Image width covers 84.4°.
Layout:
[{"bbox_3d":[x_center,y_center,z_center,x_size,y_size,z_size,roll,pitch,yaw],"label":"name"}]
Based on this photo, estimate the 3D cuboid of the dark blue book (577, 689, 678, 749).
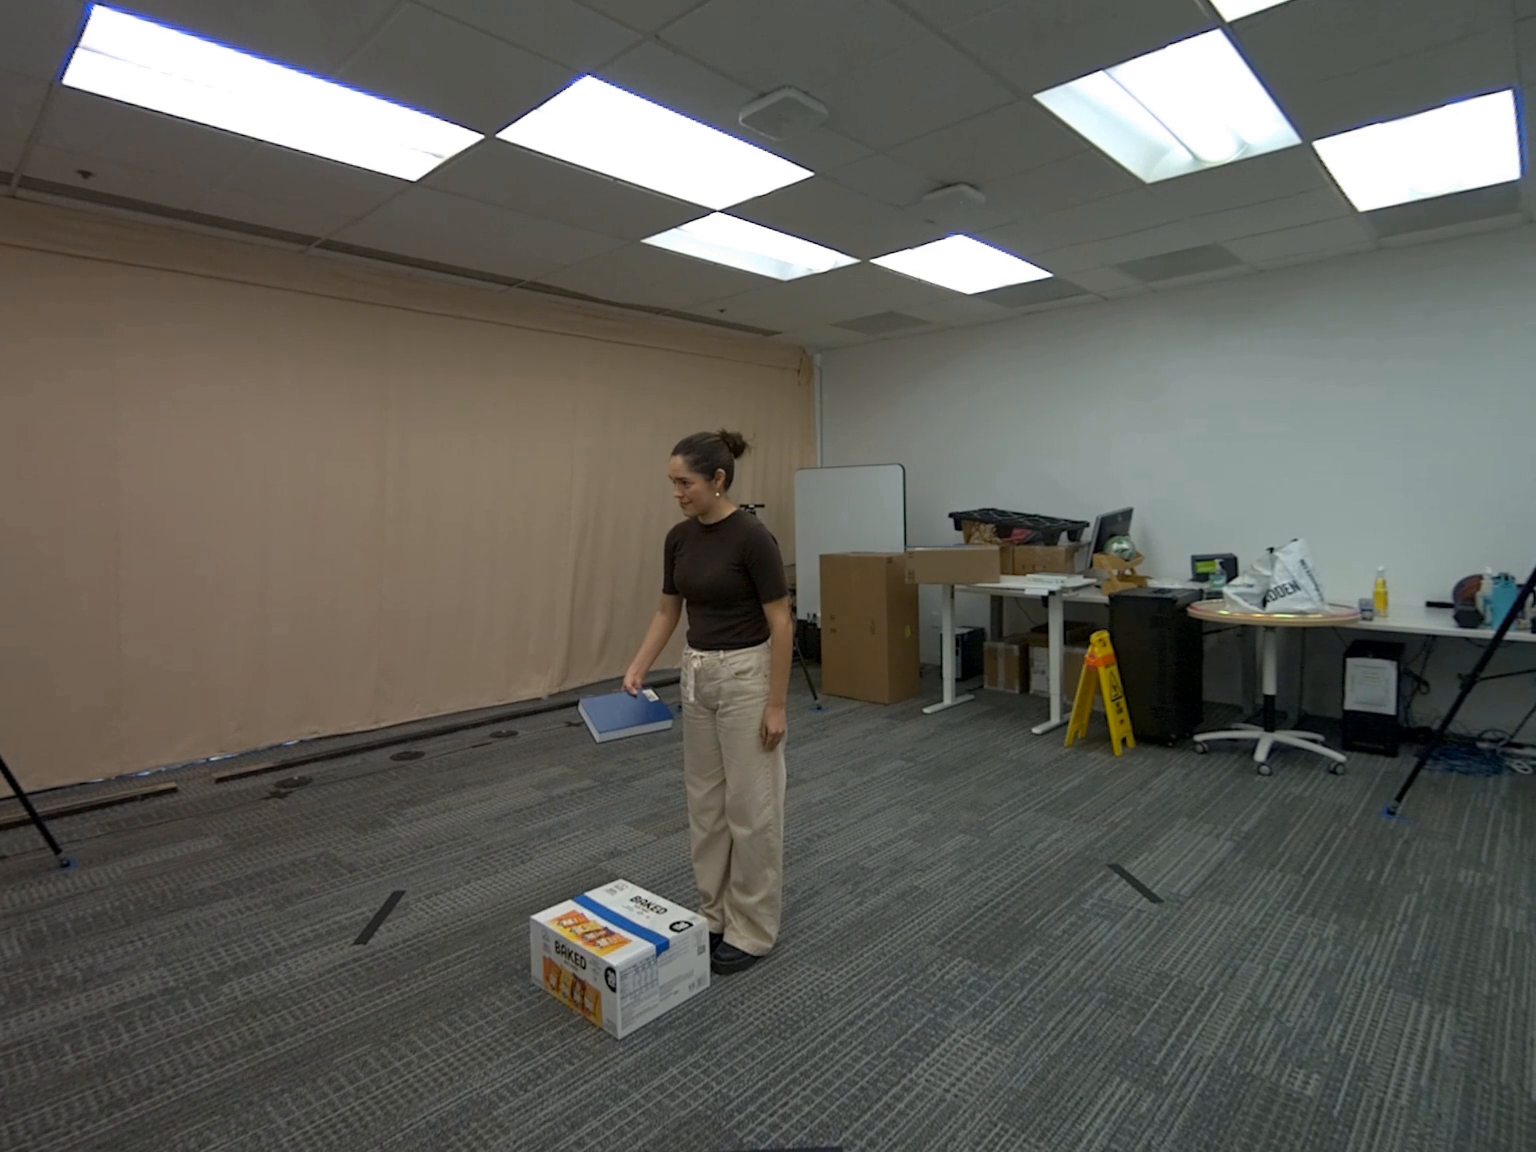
[{"bbox_3d":[-0.414,0.413,2.484,0.239,0.045,0.169,-4,32,-29],"label":"dark blue book"}]
